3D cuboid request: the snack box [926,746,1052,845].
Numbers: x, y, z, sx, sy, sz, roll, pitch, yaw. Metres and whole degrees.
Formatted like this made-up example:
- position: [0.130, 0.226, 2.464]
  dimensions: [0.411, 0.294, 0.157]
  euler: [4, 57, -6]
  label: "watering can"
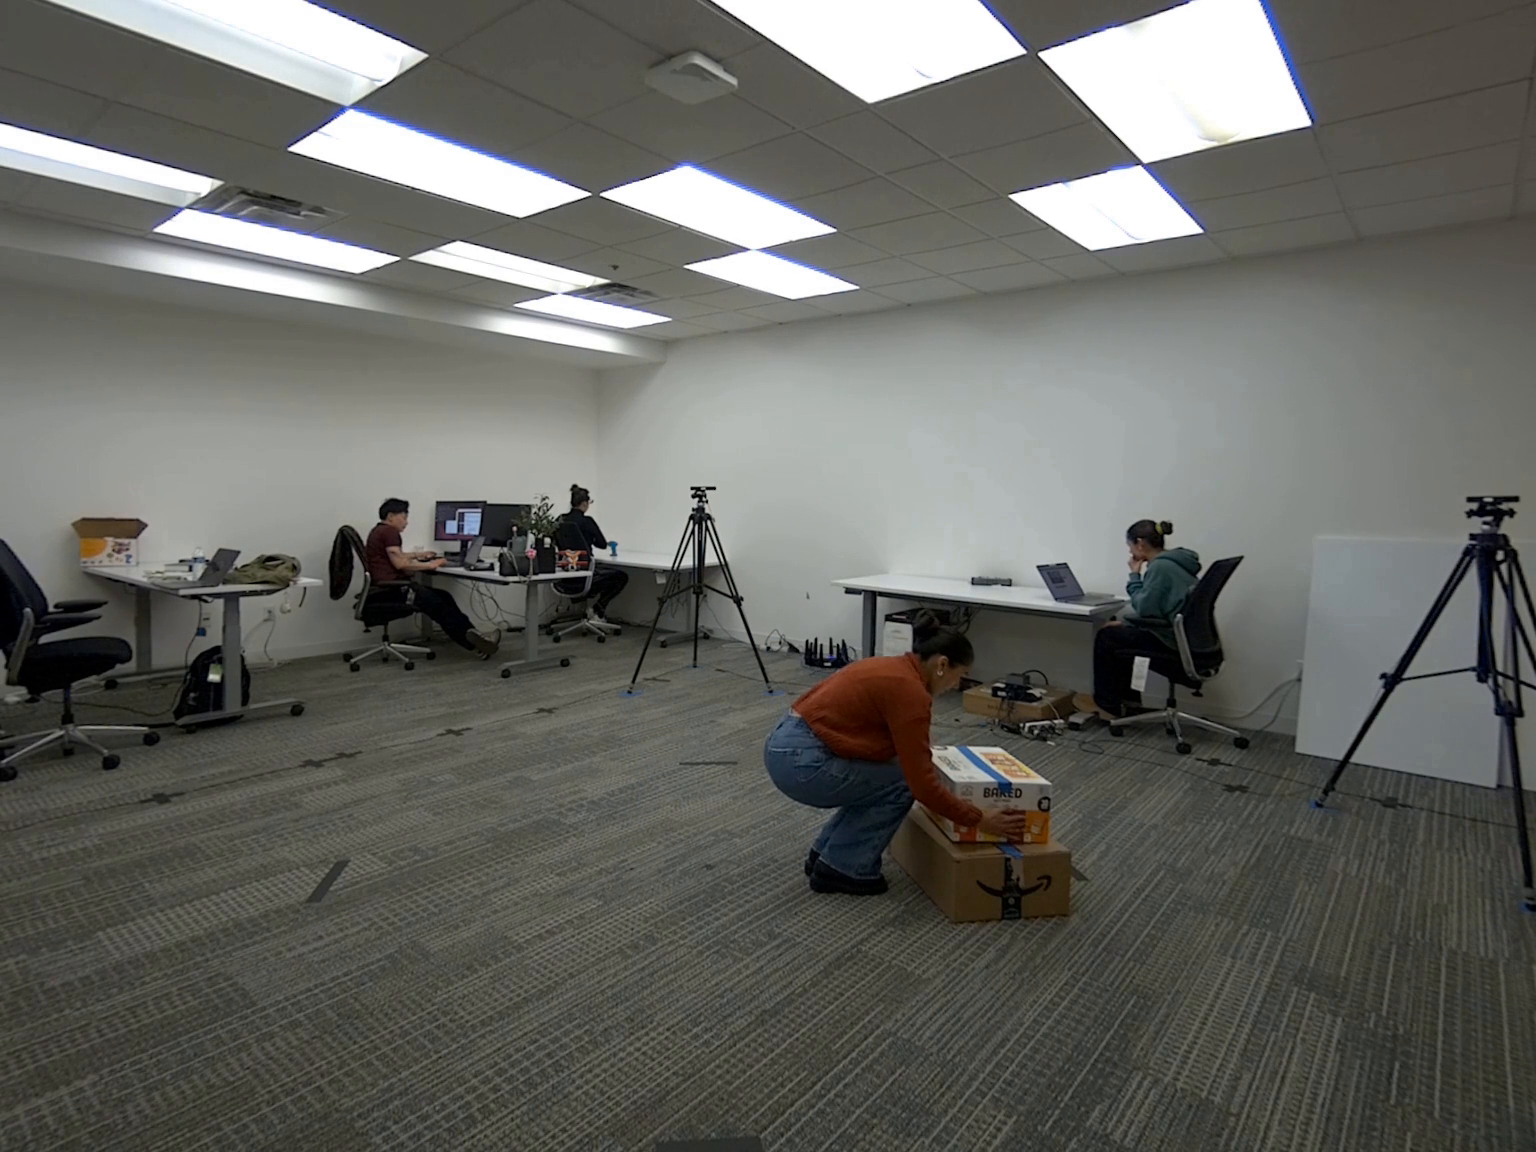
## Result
- position: [0.745, 0.766, 3.045]
  dimensions: [0.337, 0.205, 0.410]
  euler: [4, 5, -9]
  label: "snack box"
